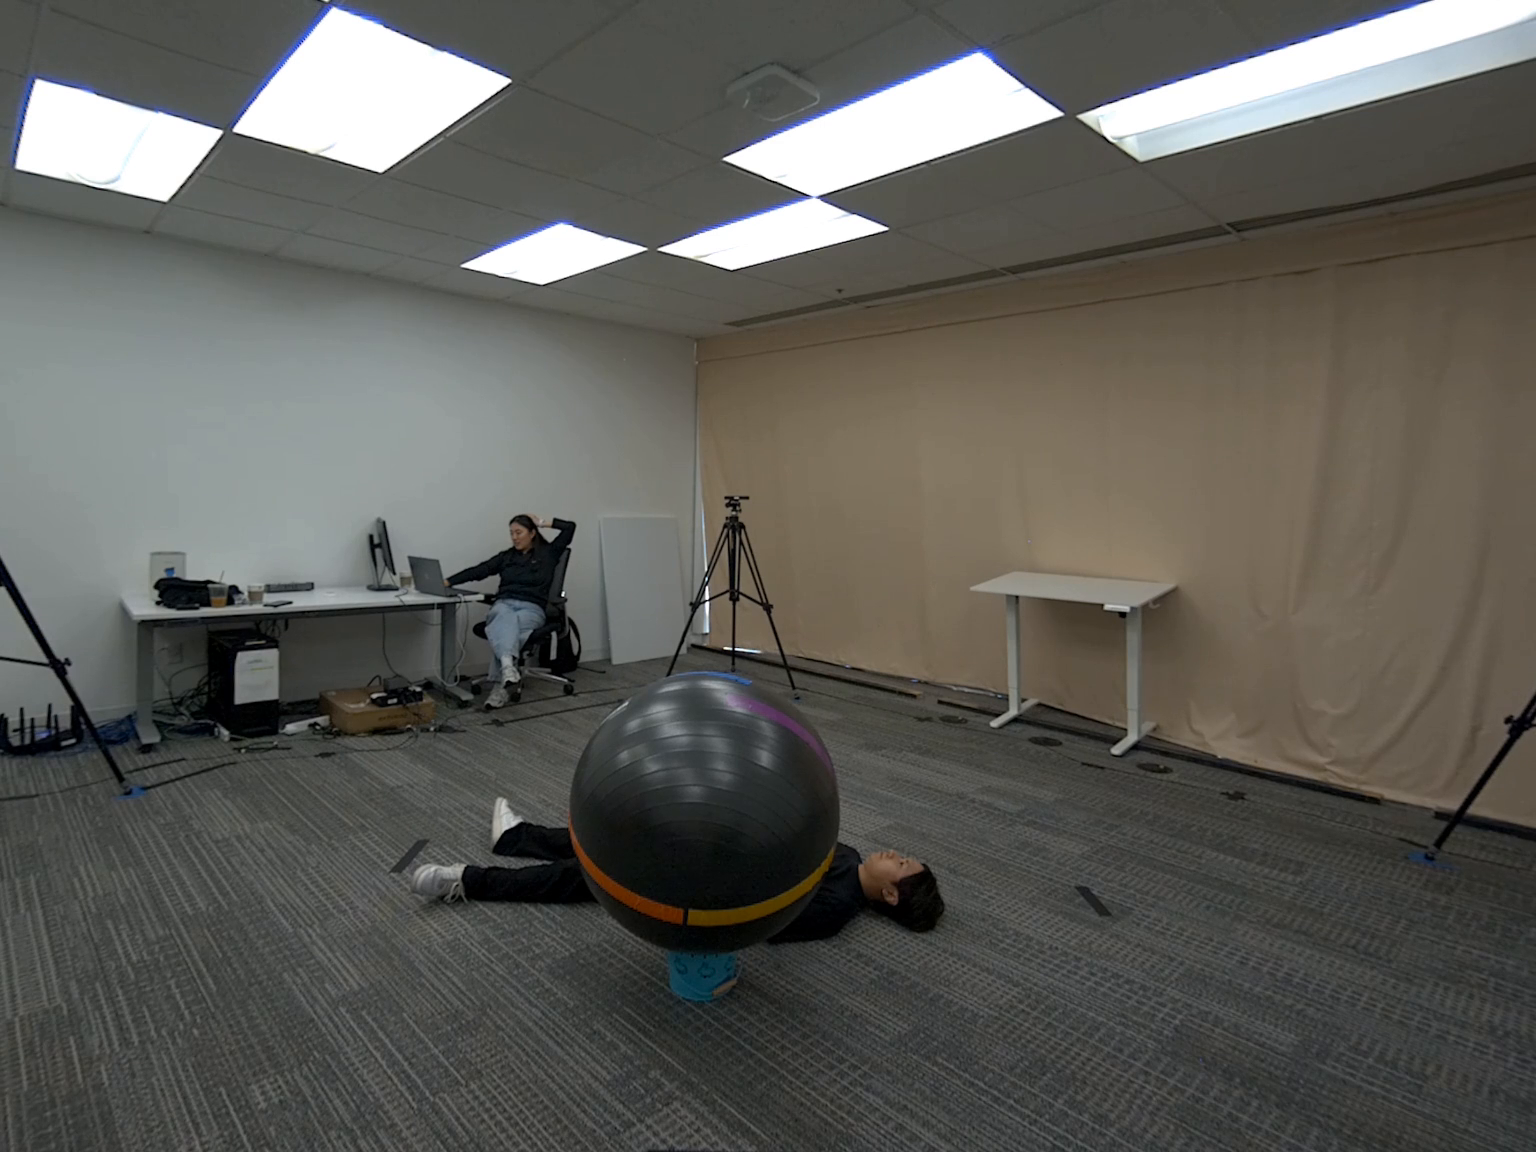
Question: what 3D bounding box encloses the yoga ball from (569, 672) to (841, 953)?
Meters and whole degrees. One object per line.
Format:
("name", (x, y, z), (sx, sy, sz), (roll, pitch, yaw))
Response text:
("yoga ball", (-0.184, 0.661, 2.391), (0.757, 0.756, 0.761), (1, 4, -1))
